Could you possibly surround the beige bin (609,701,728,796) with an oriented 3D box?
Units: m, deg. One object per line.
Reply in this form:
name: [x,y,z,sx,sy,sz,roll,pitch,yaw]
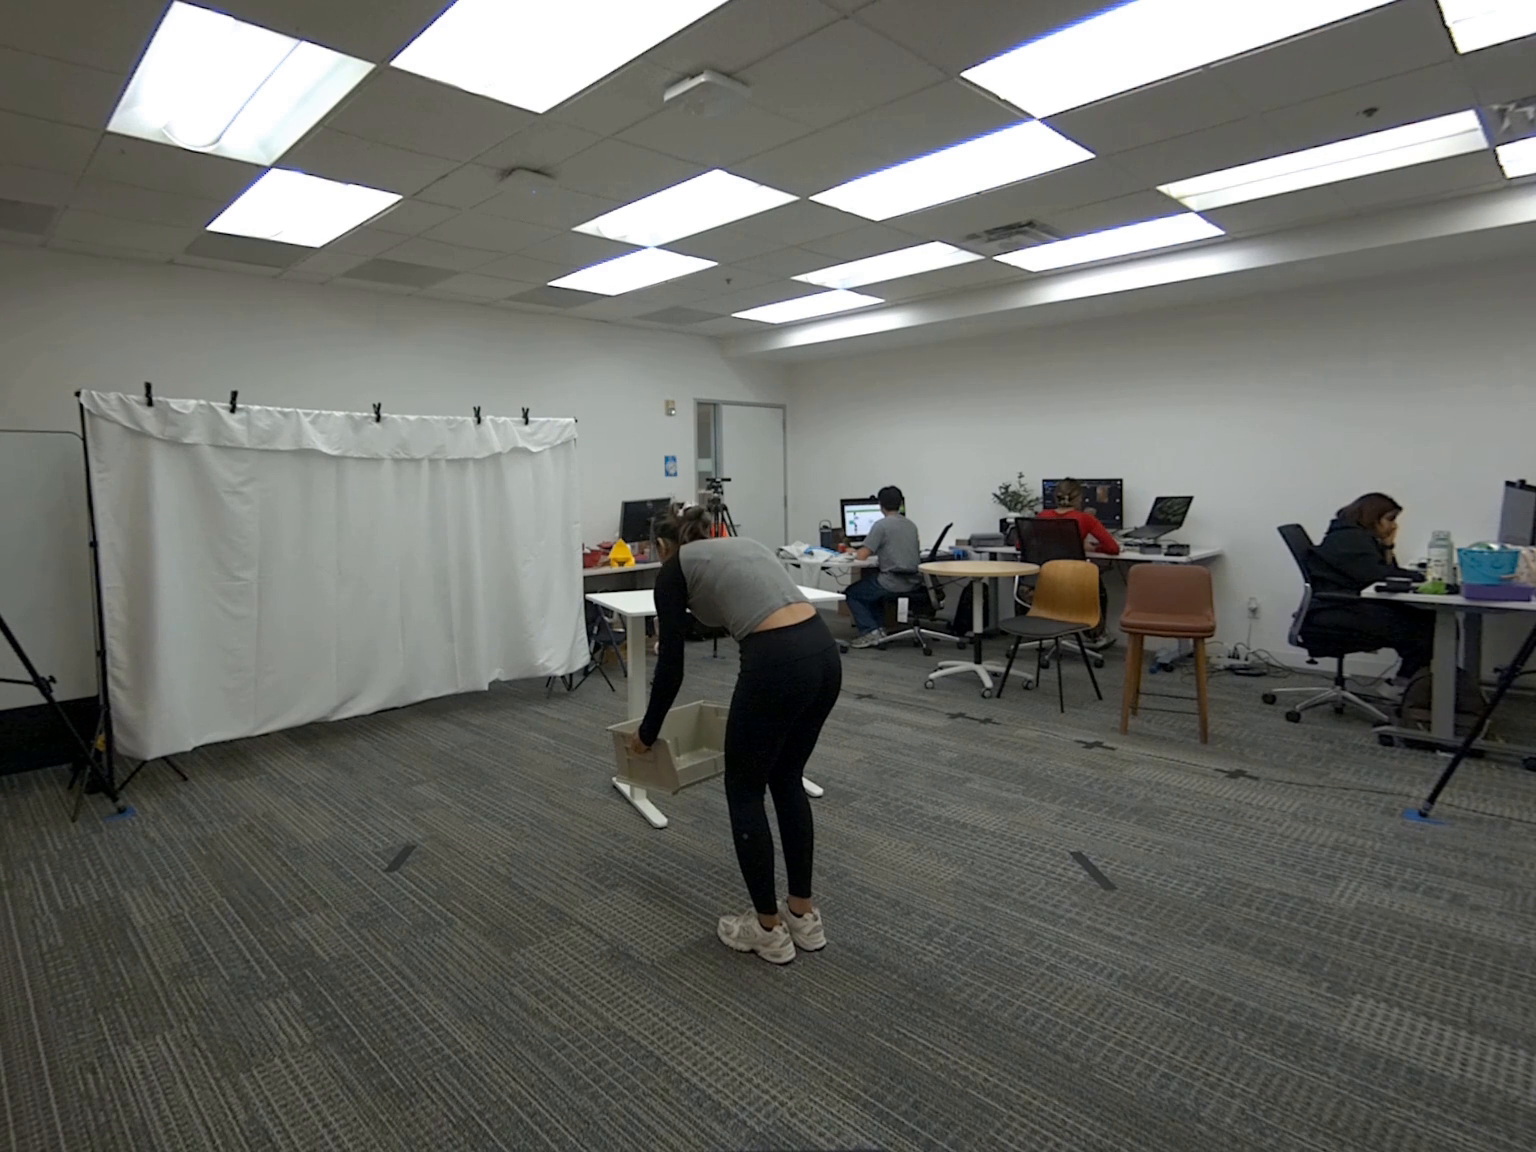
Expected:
beige bin: [-0.256,0.571,2.843,0.412,0.188,0.387,-9,5,-41]
